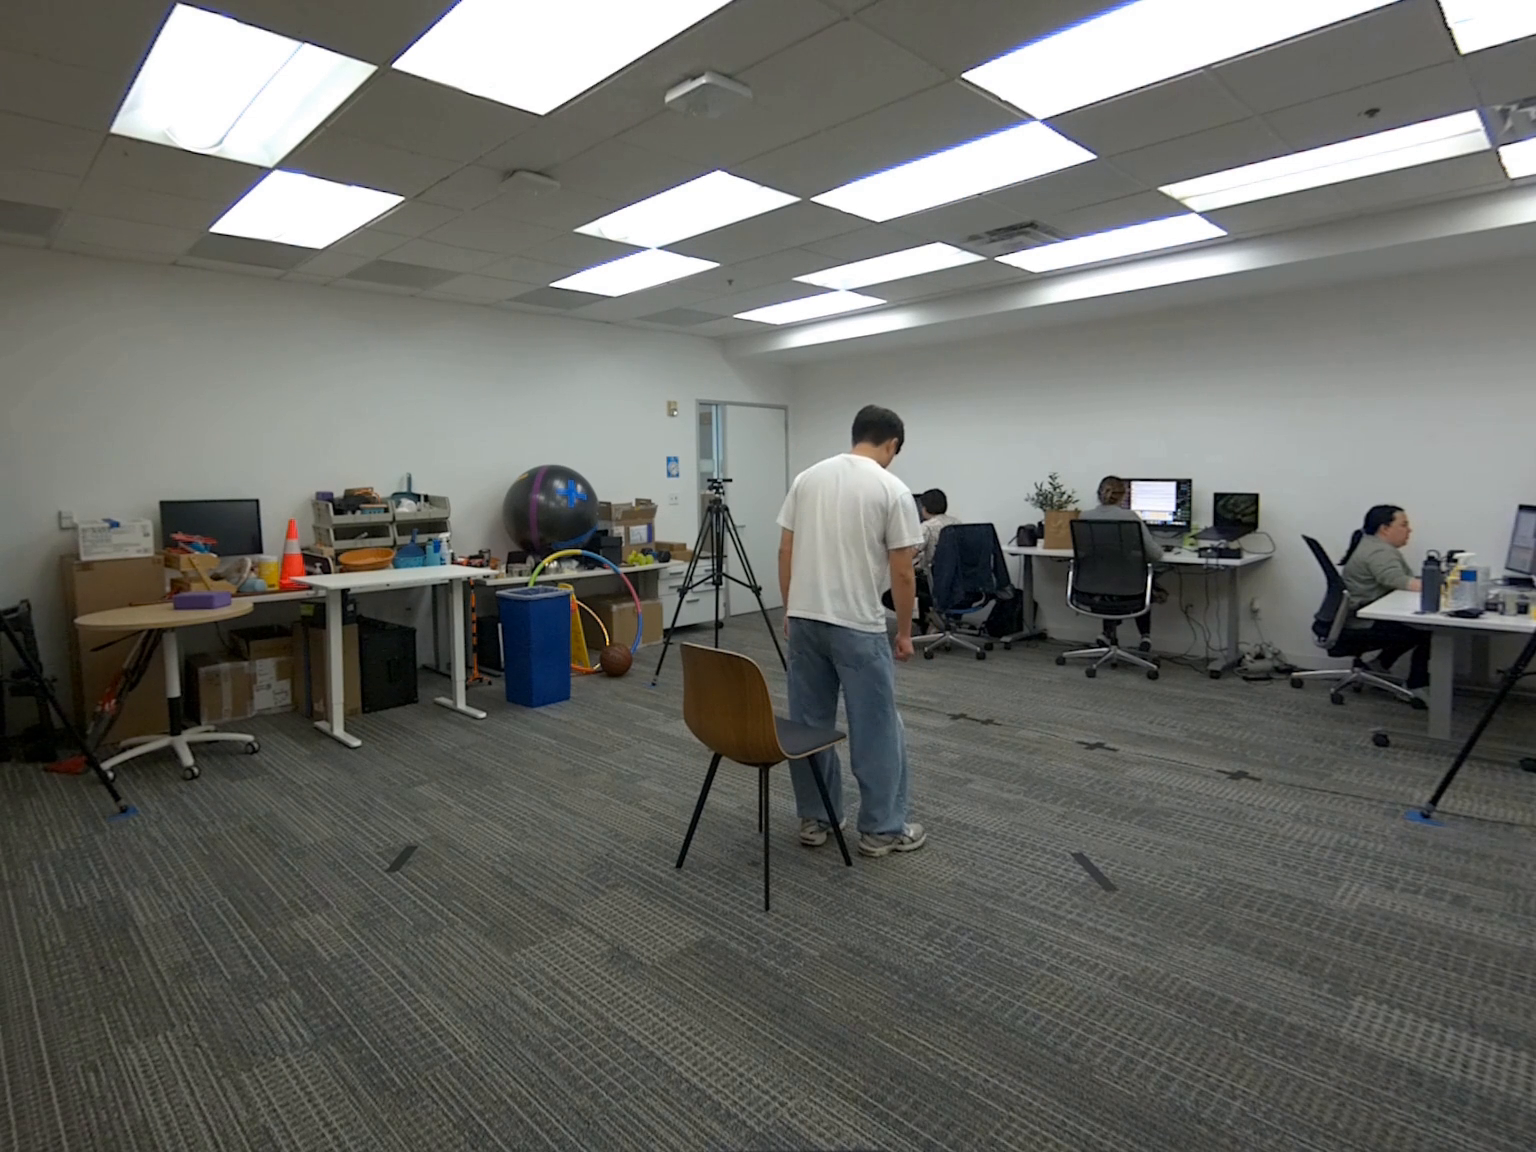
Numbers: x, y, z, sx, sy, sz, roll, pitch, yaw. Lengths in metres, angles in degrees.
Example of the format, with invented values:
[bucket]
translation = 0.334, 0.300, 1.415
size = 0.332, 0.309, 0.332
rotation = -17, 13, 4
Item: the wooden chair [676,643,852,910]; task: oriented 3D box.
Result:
[wooden chair]
translation = -0.016, 0.625, 3.046
size = 0.493, 0.871, 0.511
rotation = 3, 10, 44
